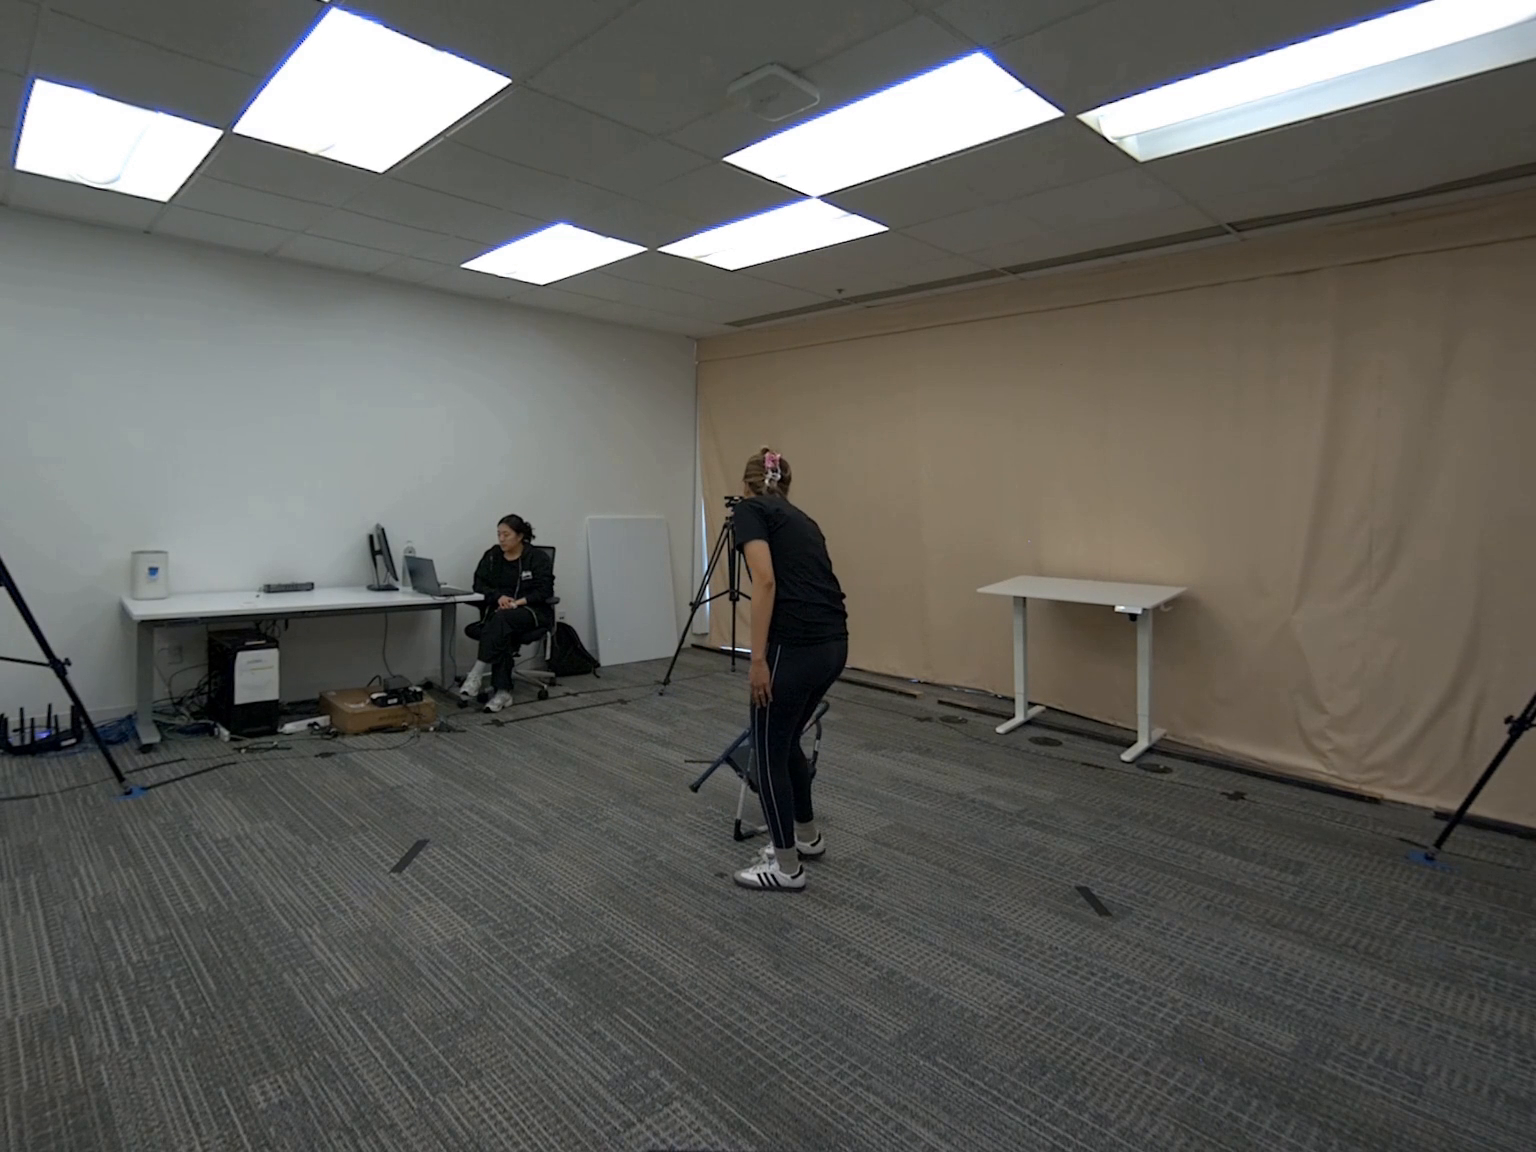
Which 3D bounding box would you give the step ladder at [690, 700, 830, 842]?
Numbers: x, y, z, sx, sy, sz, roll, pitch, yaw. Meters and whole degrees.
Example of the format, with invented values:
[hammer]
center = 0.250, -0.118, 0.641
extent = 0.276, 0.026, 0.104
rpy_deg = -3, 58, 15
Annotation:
[step ladder]
center = 0.006, 0.727, 3.538
extent = 0.421, 0.600, 0.360
rpy_deg = -2, 31, -43
